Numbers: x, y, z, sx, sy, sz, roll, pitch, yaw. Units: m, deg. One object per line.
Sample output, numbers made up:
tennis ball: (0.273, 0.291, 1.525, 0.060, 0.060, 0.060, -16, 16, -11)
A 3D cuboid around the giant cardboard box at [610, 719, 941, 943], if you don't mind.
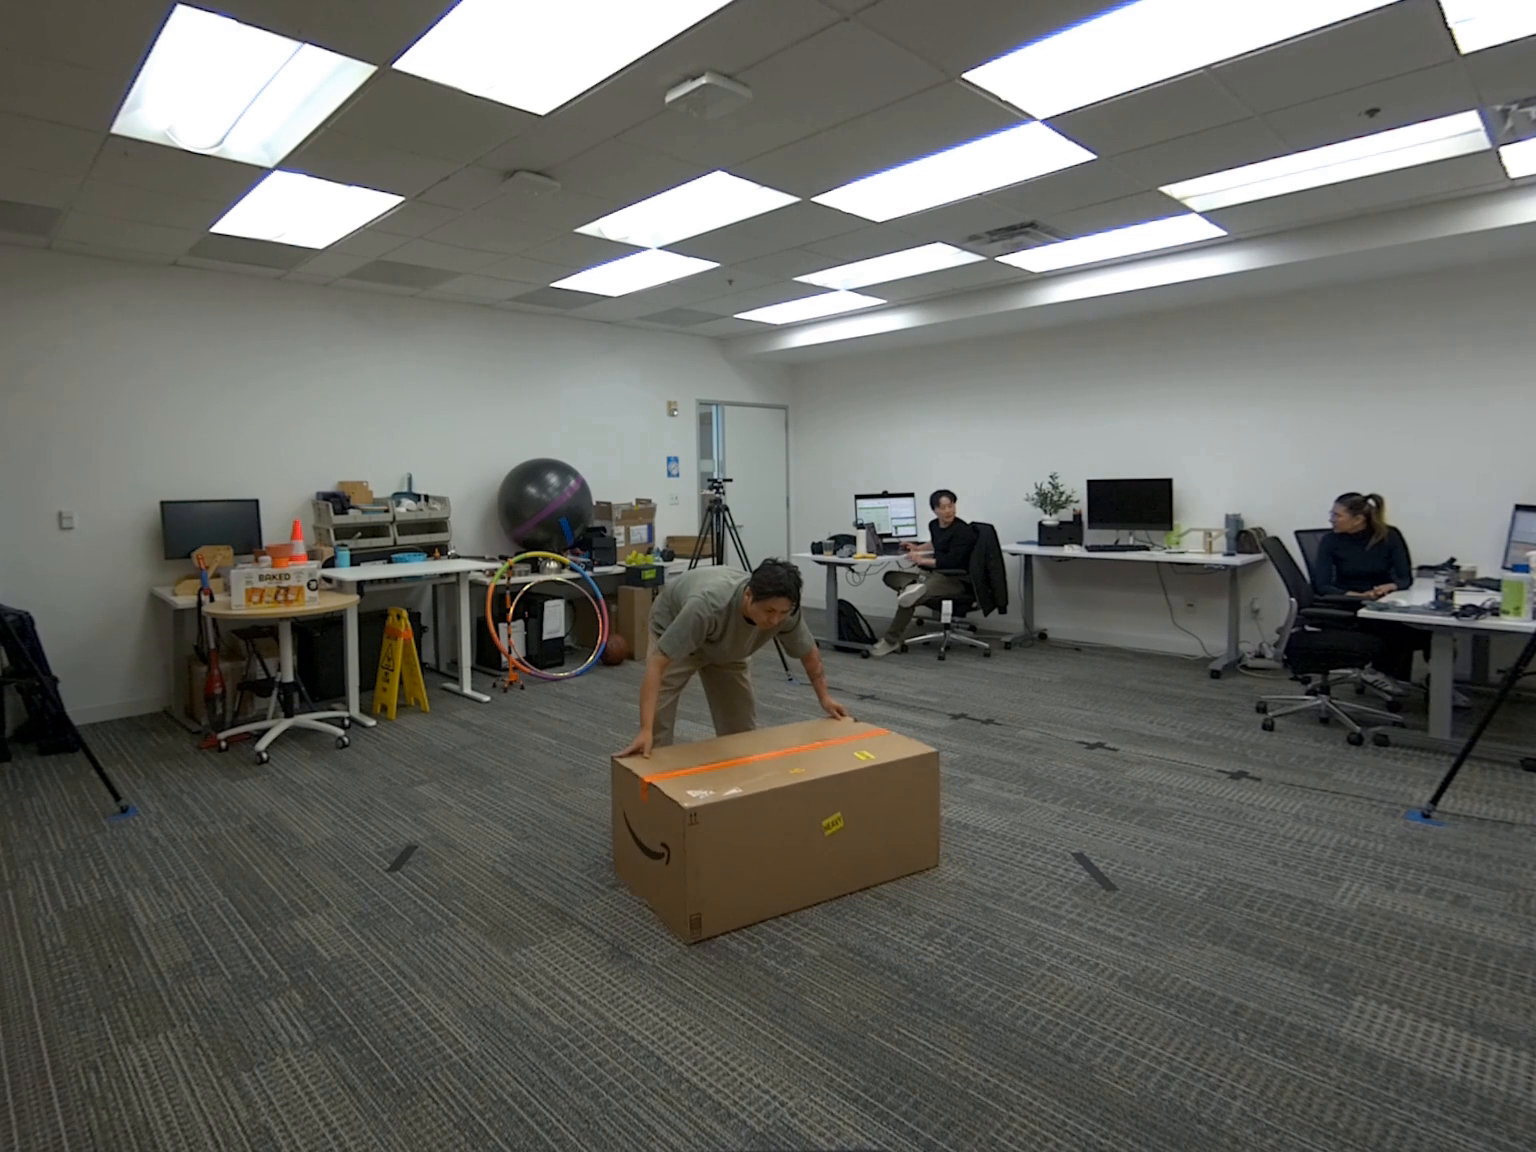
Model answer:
giant cardboard box: (0.034, 0.834, 3.034, 1.002, 0.424, 0.593, -5, 6, -31)
